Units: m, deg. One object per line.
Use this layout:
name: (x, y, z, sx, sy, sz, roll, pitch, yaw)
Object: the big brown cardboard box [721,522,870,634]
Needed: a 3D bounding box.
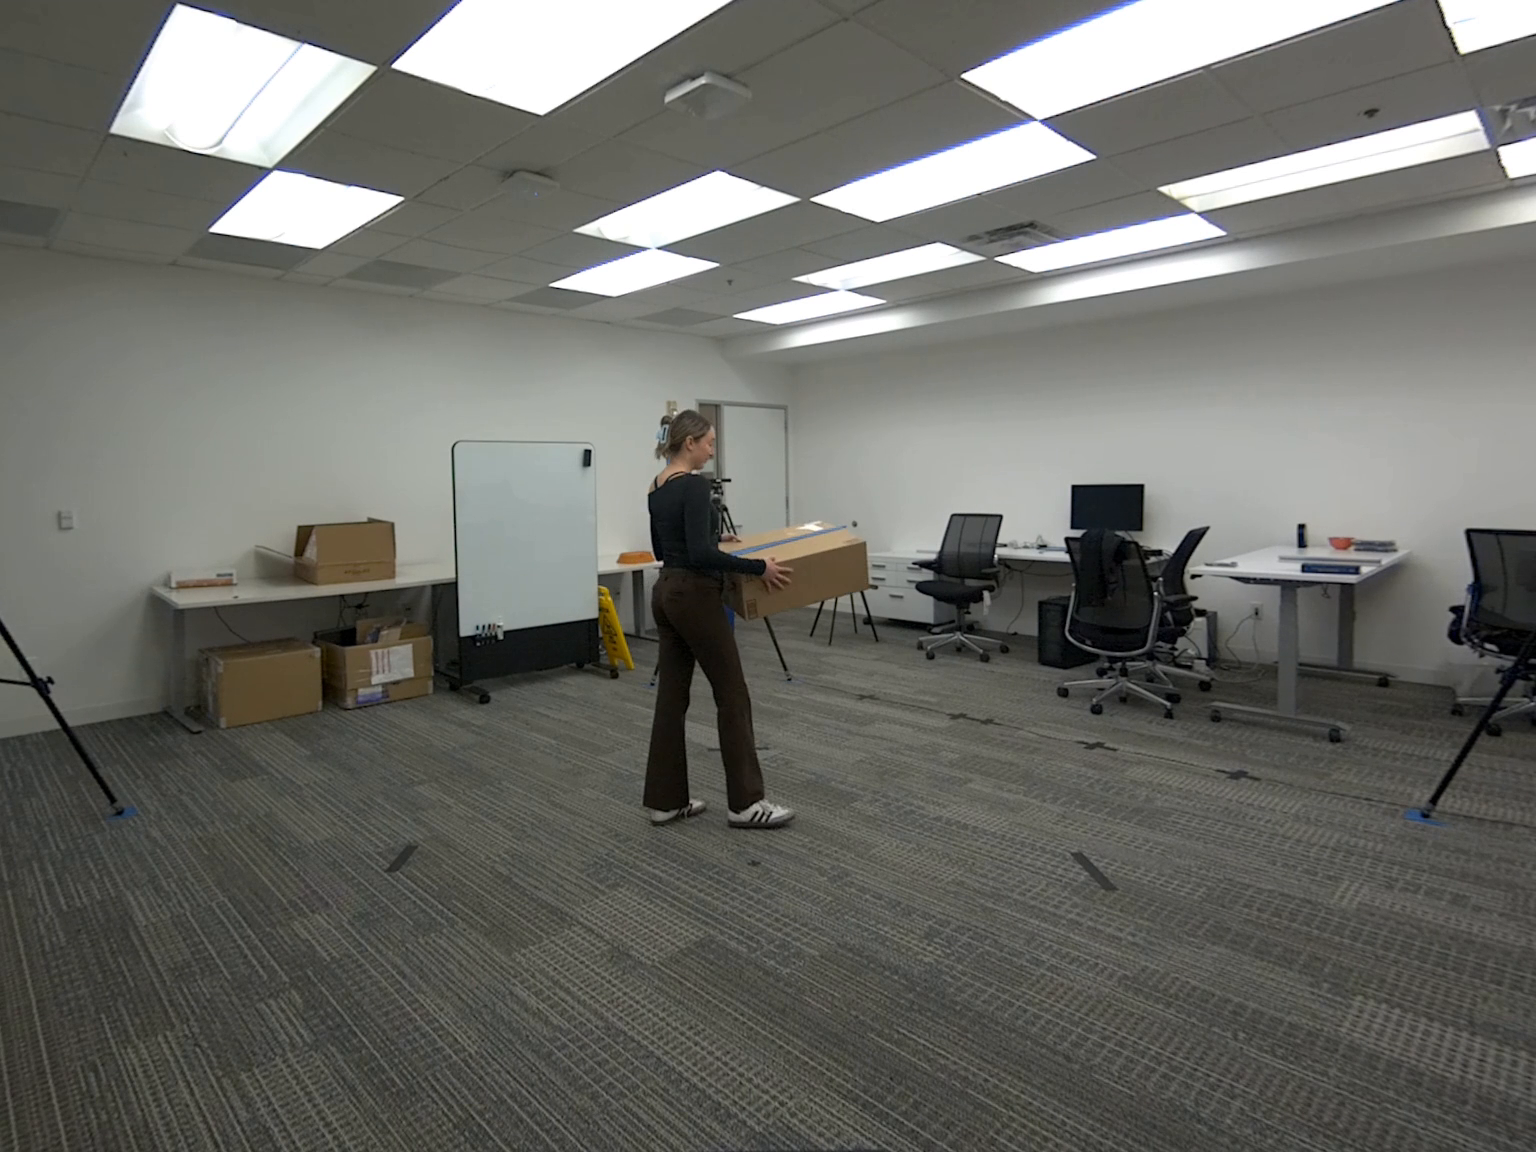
big brown cardboard box: (0.077, -0.039, 3.607, 0.581, 0.229, 0.431, -15, 20, -20)
